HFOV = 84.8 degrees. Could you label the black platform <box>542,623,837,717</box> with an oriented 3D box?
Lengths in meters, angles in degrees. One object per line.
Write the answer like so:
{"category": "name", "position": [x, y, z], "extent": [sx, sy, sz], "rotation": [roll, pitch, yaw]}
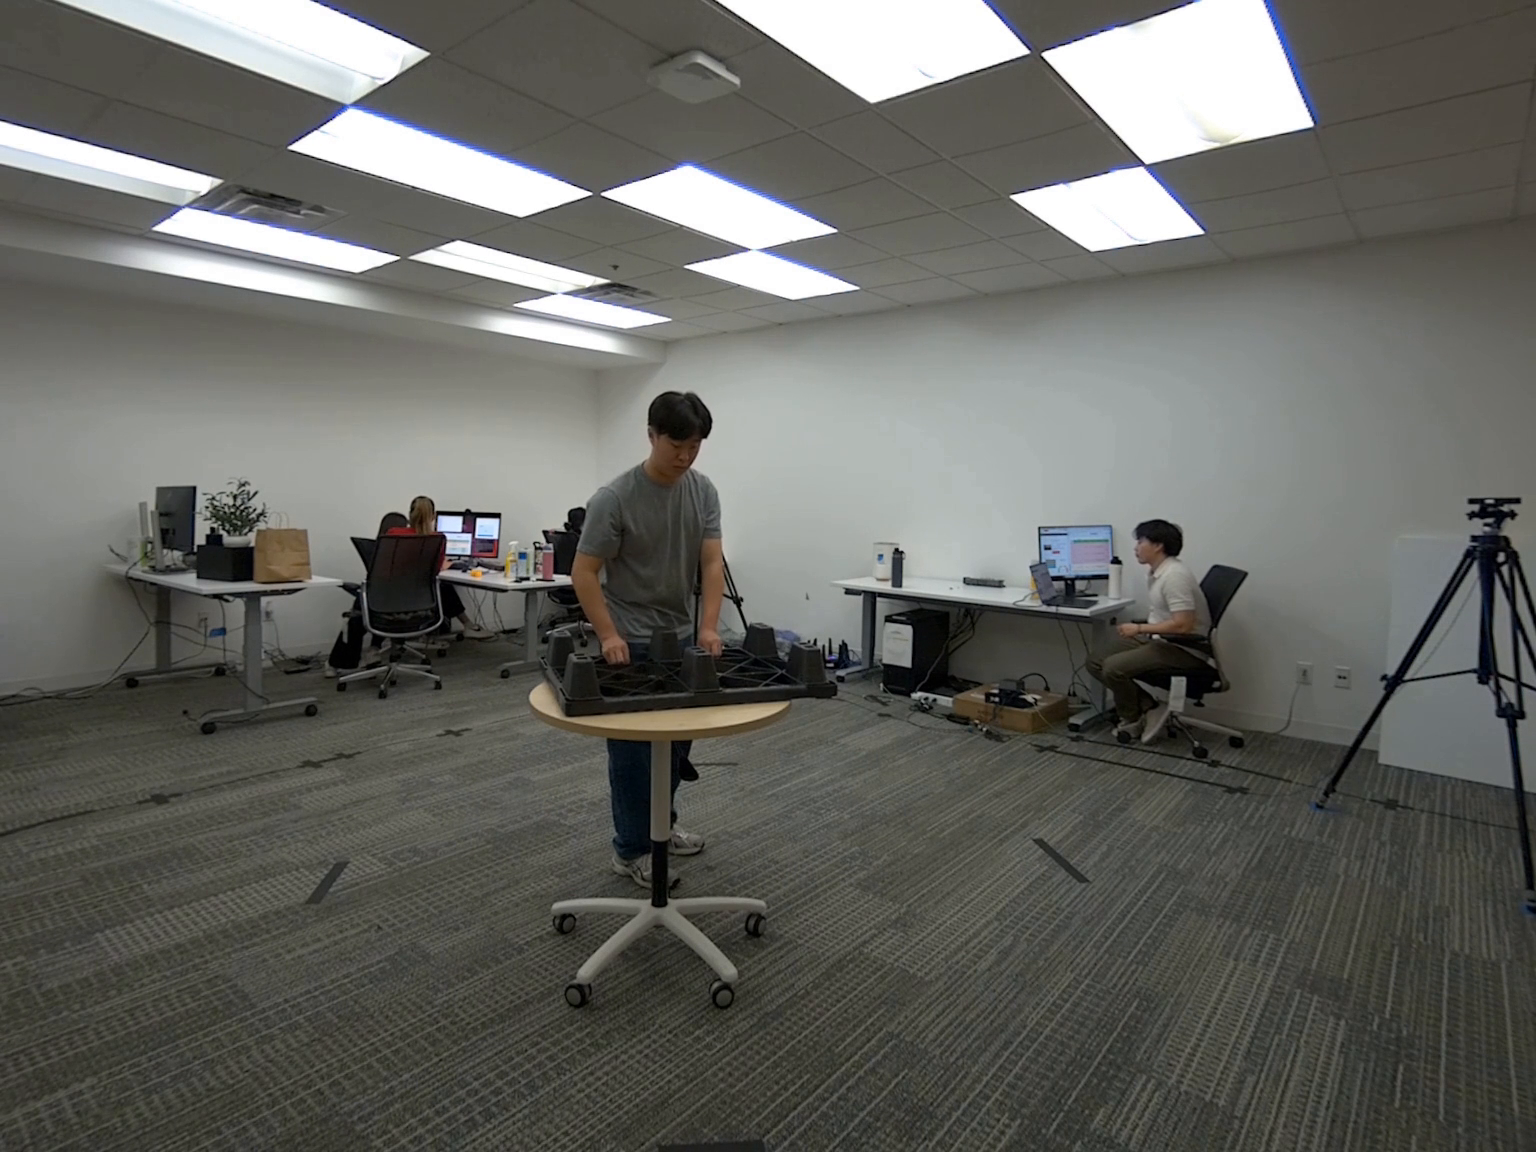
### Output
{"category": "black platform", "position": [-0.283, 0.257, 2.632], "extent": [0.790, 0.142, 0.620], "rotation": [-1, 7, -20]}
